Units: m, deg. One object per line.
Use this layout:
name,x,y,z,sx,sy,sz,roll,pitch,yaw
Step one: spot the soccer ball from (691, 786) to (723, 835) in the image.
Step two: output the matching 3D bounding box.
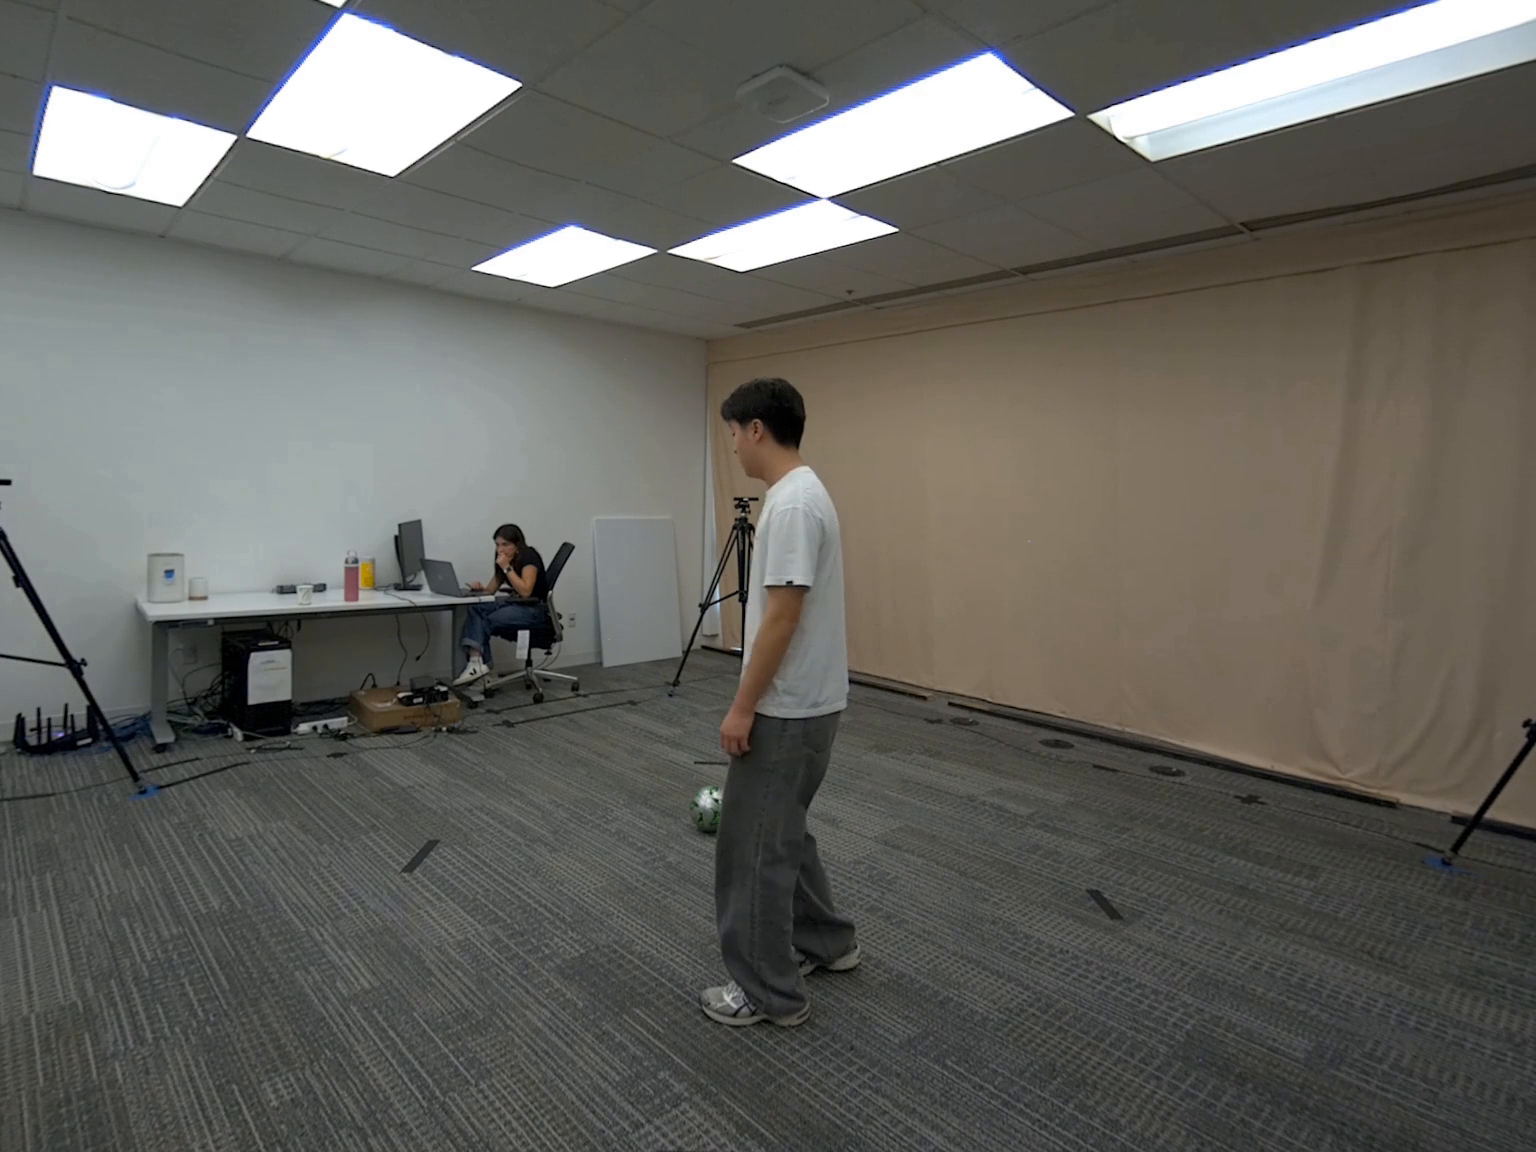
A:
soccer ball,-0.243,0.978,3.529,0.187,0.187,0.188,1,4,-1
